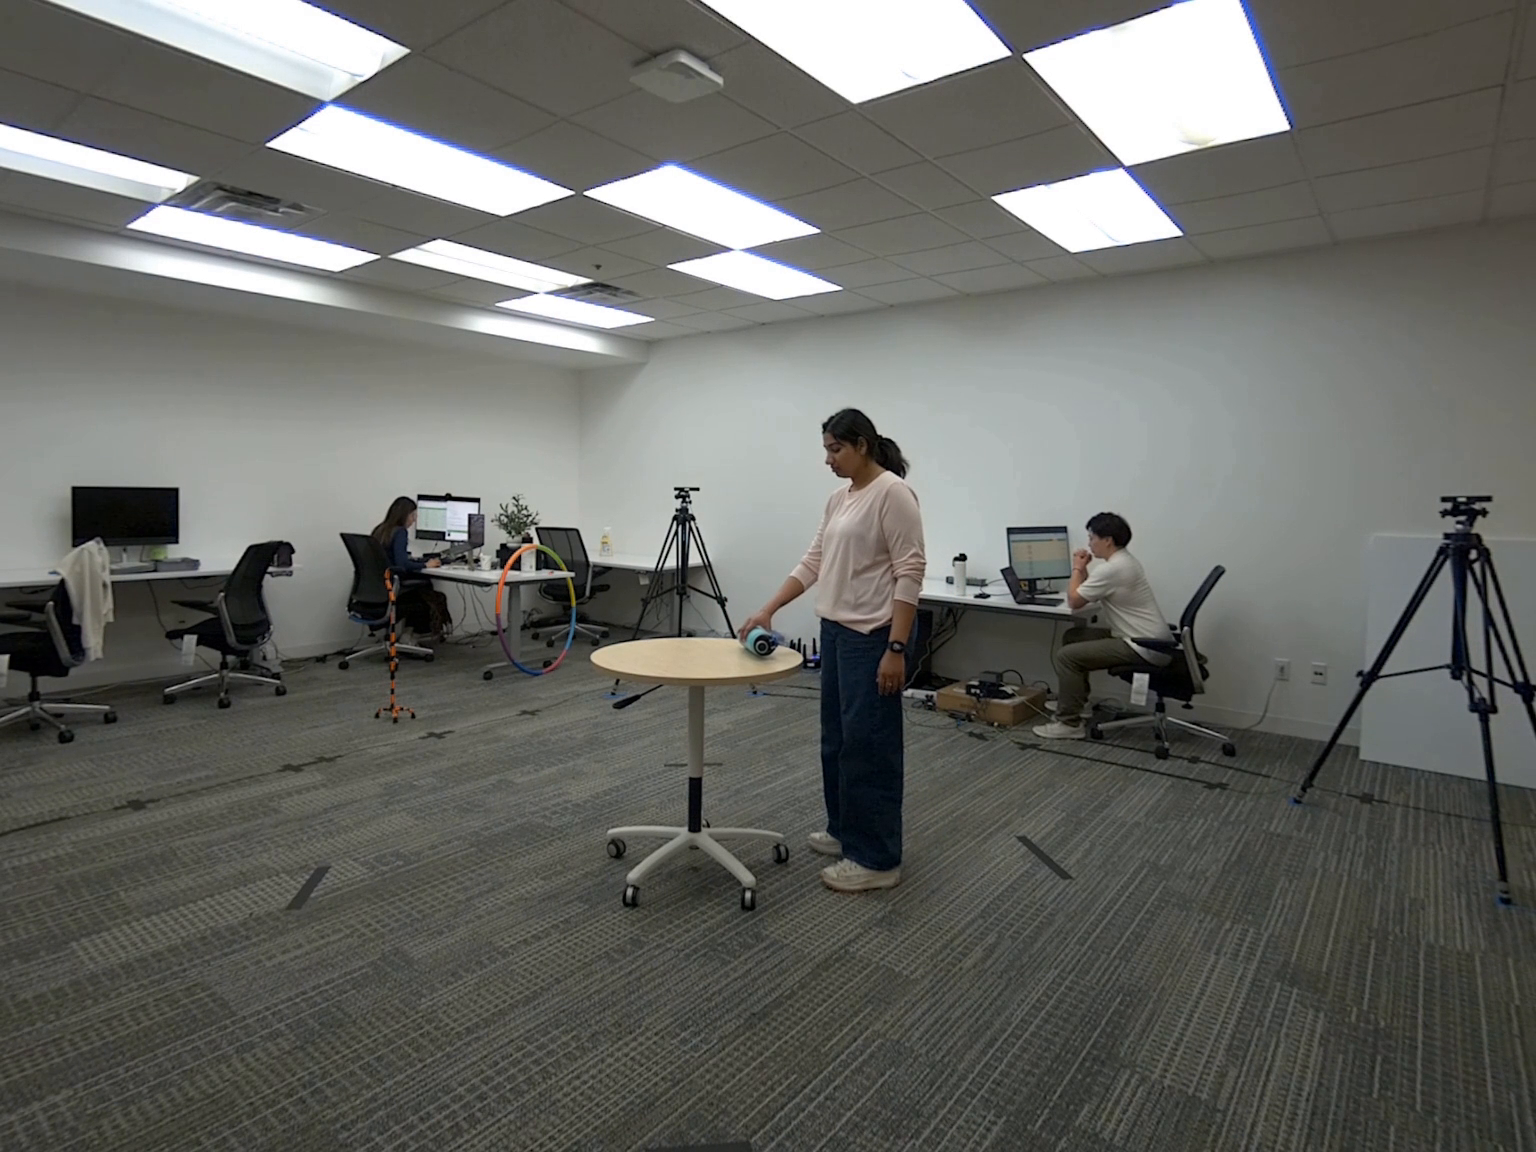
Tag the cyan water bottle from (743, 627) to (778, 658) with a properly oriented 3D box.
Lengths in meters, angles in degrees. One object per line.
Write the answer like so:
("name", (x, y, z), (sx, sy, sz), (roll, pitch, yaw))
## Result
("cyan water bottle", (-0.056, 0.232, 3.125), (0.091, 0.092, 0.289), (0, 5, -16))
